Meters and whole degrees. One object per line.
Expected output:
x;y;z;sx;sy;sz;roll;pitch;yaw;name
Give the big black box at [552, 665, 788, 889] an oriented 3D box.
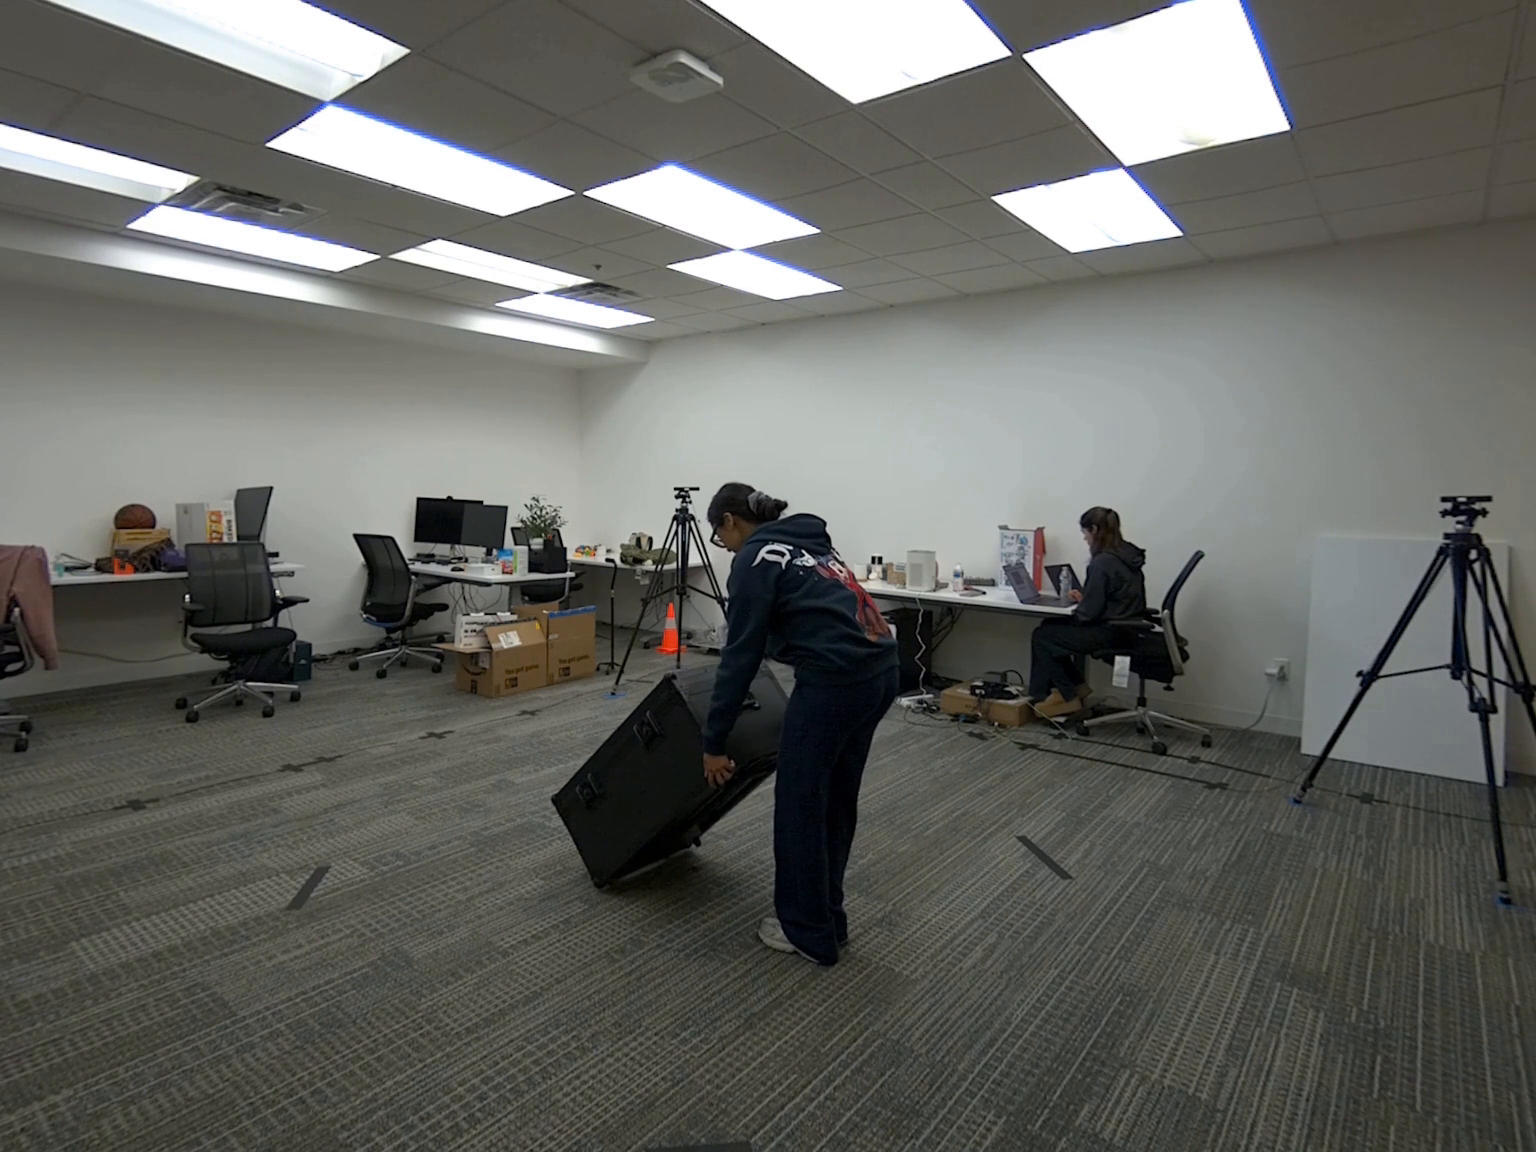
-0.335;0.702;2.989;0.506;0.408;0.861;-4;-36;-52;big black box
